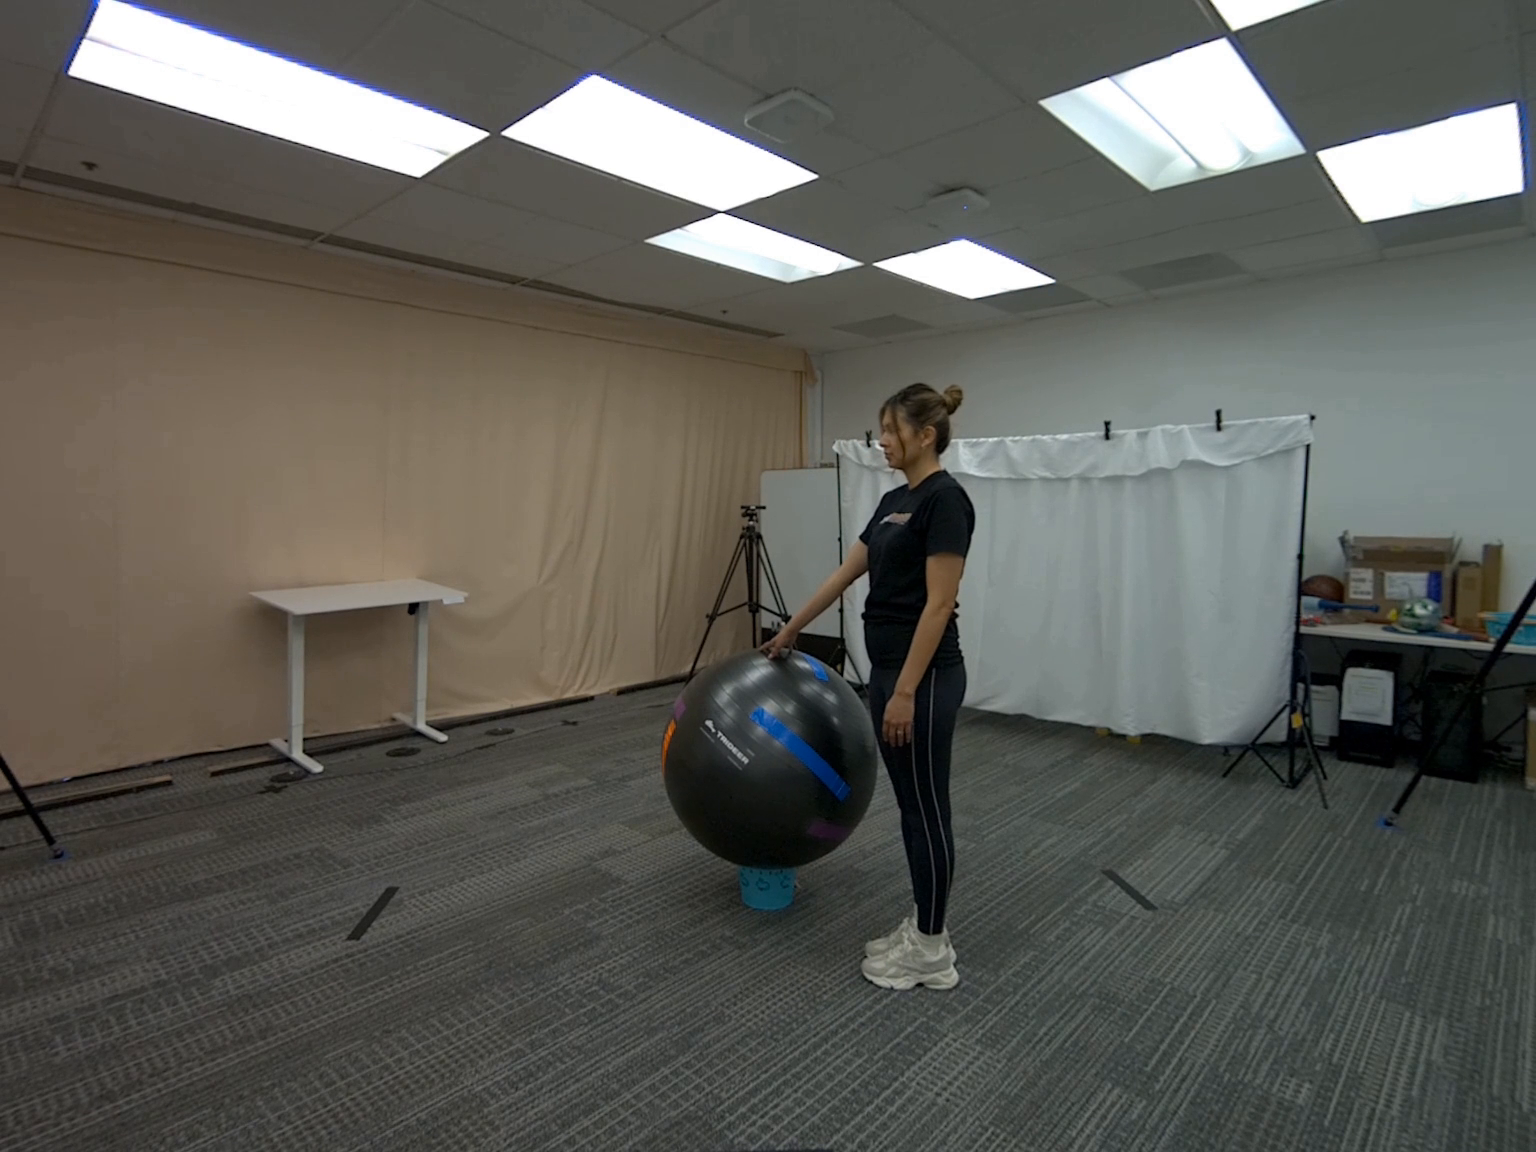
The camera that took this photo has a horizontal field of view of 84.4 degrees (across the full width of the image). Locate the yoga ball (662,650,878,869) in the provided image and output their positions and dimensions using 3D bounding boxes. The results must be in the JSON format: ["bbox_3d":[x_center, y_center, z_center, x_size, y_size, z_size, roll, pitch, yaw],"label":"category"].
[{"bbox_3d":[0.008,0.640,2.967,0.757,0.756,0.760,0,4,-2],"label":"yoga ball"}]
